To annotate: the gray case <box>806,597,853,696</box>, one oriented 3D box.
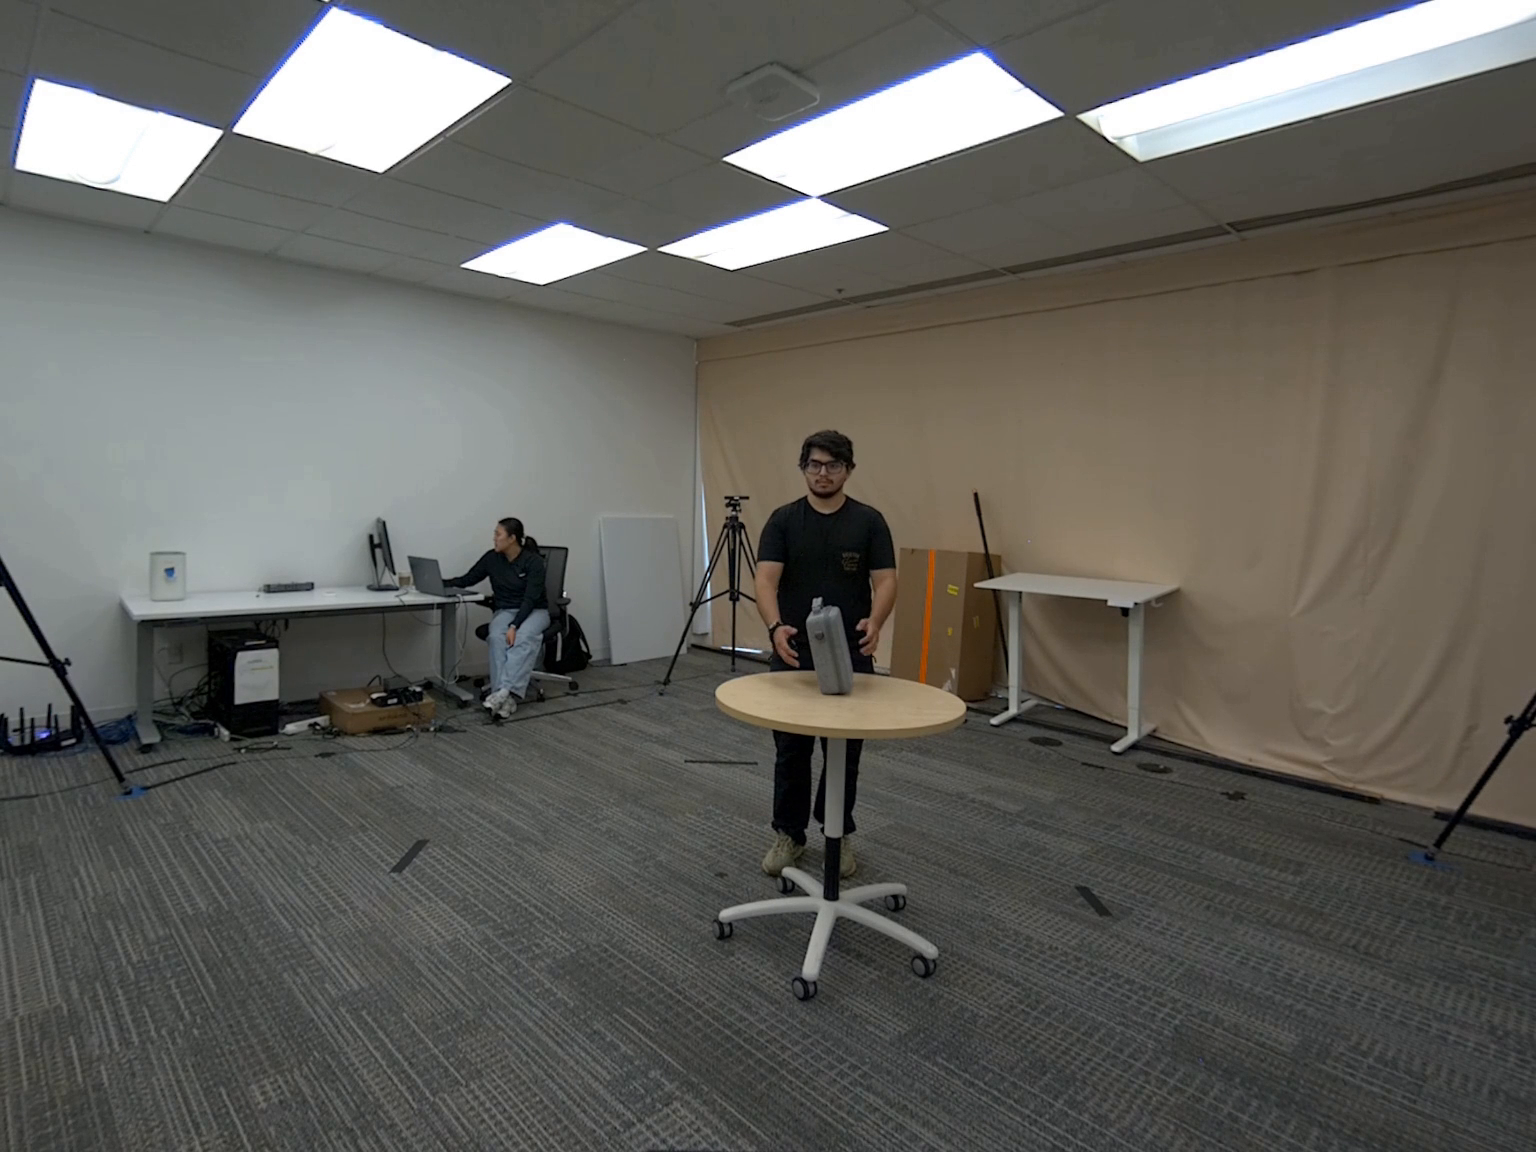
[{"bbox_3d":[0.195,0.235,2.721,0.105,0.260,0.256,-8,2,7],"label":"gray case"}]
